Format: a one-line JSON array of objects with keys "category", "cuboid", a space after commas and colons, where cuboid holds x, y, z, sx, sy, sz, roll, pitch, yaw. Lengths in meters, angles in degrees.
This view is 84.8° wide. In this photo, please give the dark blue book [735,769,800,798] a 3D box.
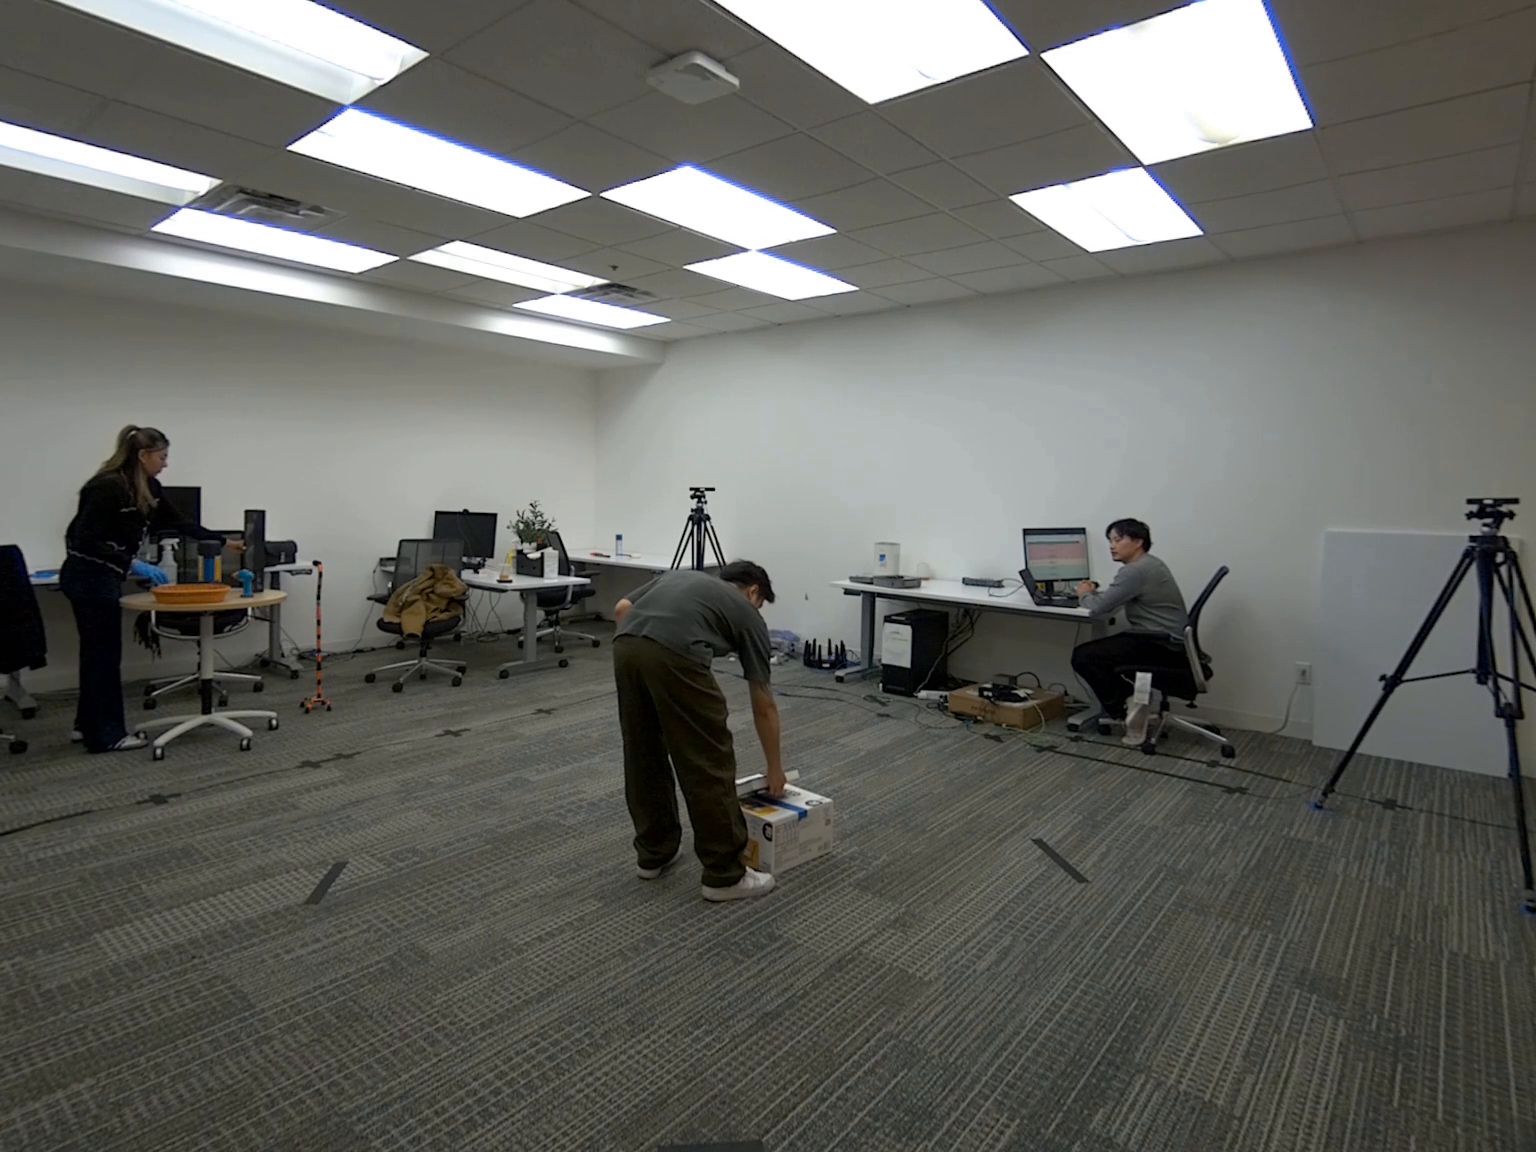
[{"category": "dark blue book", "cuboid": [-0.023, 0.806, 3.315, 0.239, 0.046, 0.164, -8, -17, -28]}]
